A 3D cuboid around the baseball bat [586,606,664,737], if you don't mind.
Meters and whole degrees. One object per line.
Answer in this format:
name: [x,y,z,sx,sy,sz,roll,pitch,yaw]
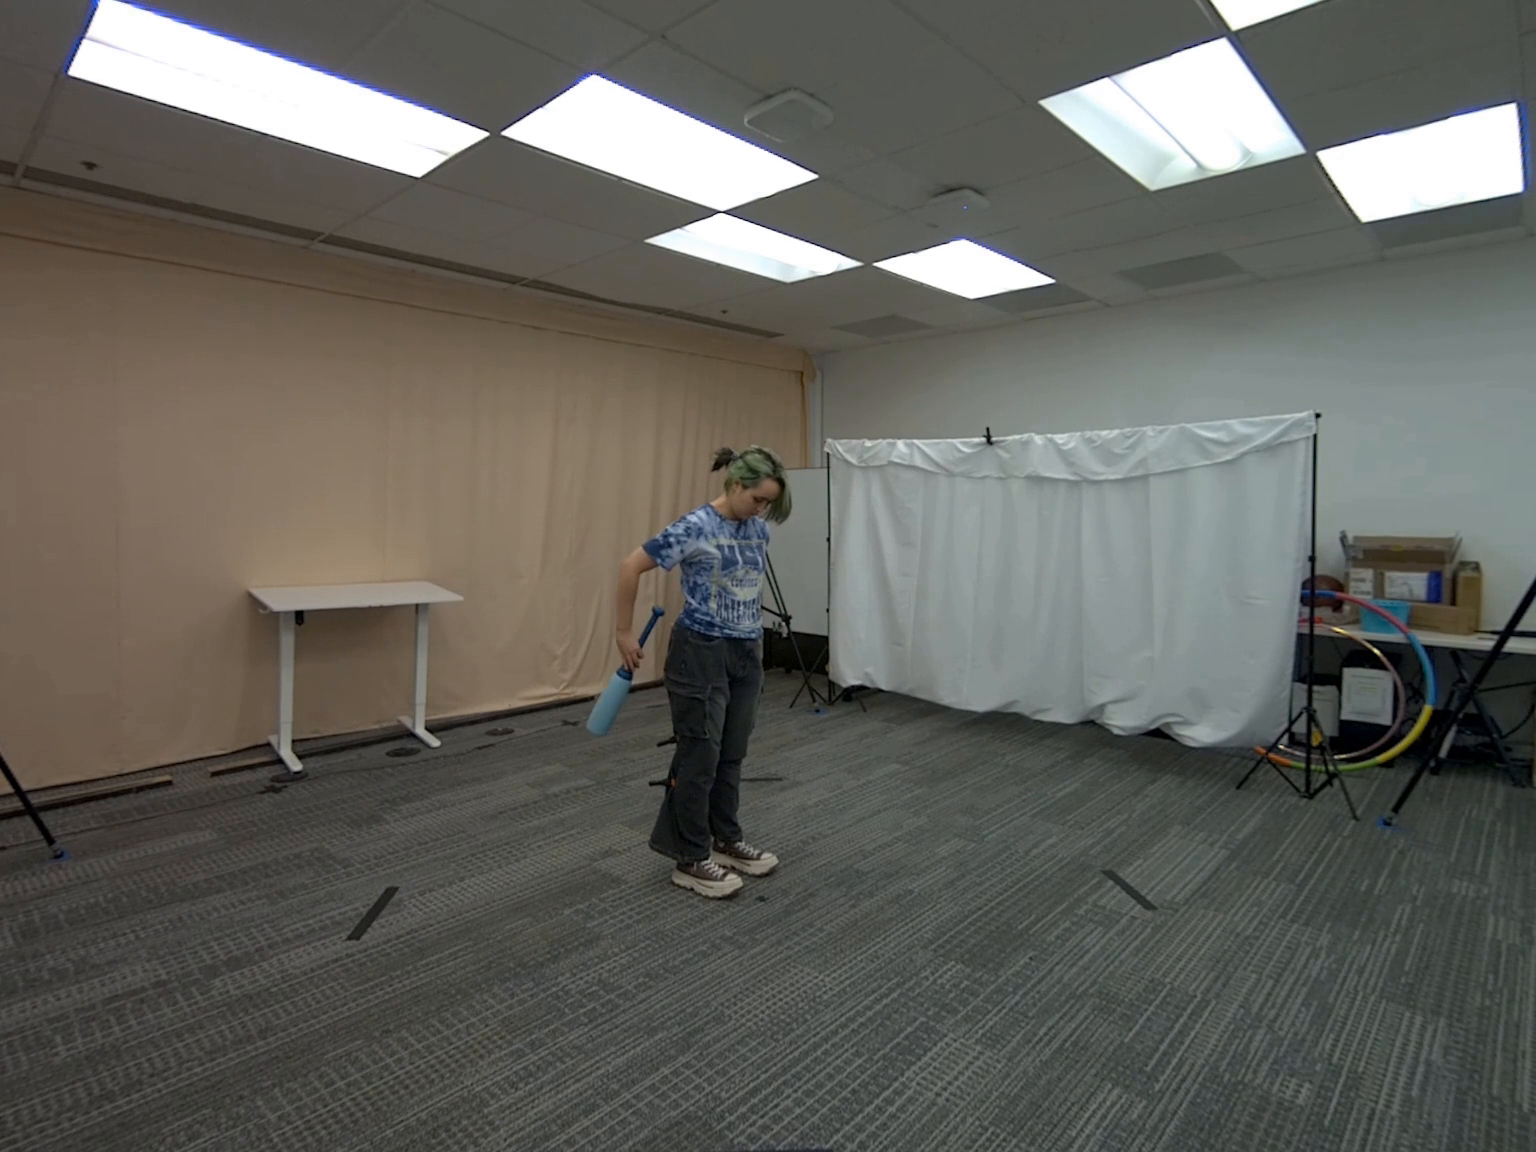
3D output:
baseball bat: [-0.509,0.356,3.104,0.088,0.543,0.090,27,11,-8]
